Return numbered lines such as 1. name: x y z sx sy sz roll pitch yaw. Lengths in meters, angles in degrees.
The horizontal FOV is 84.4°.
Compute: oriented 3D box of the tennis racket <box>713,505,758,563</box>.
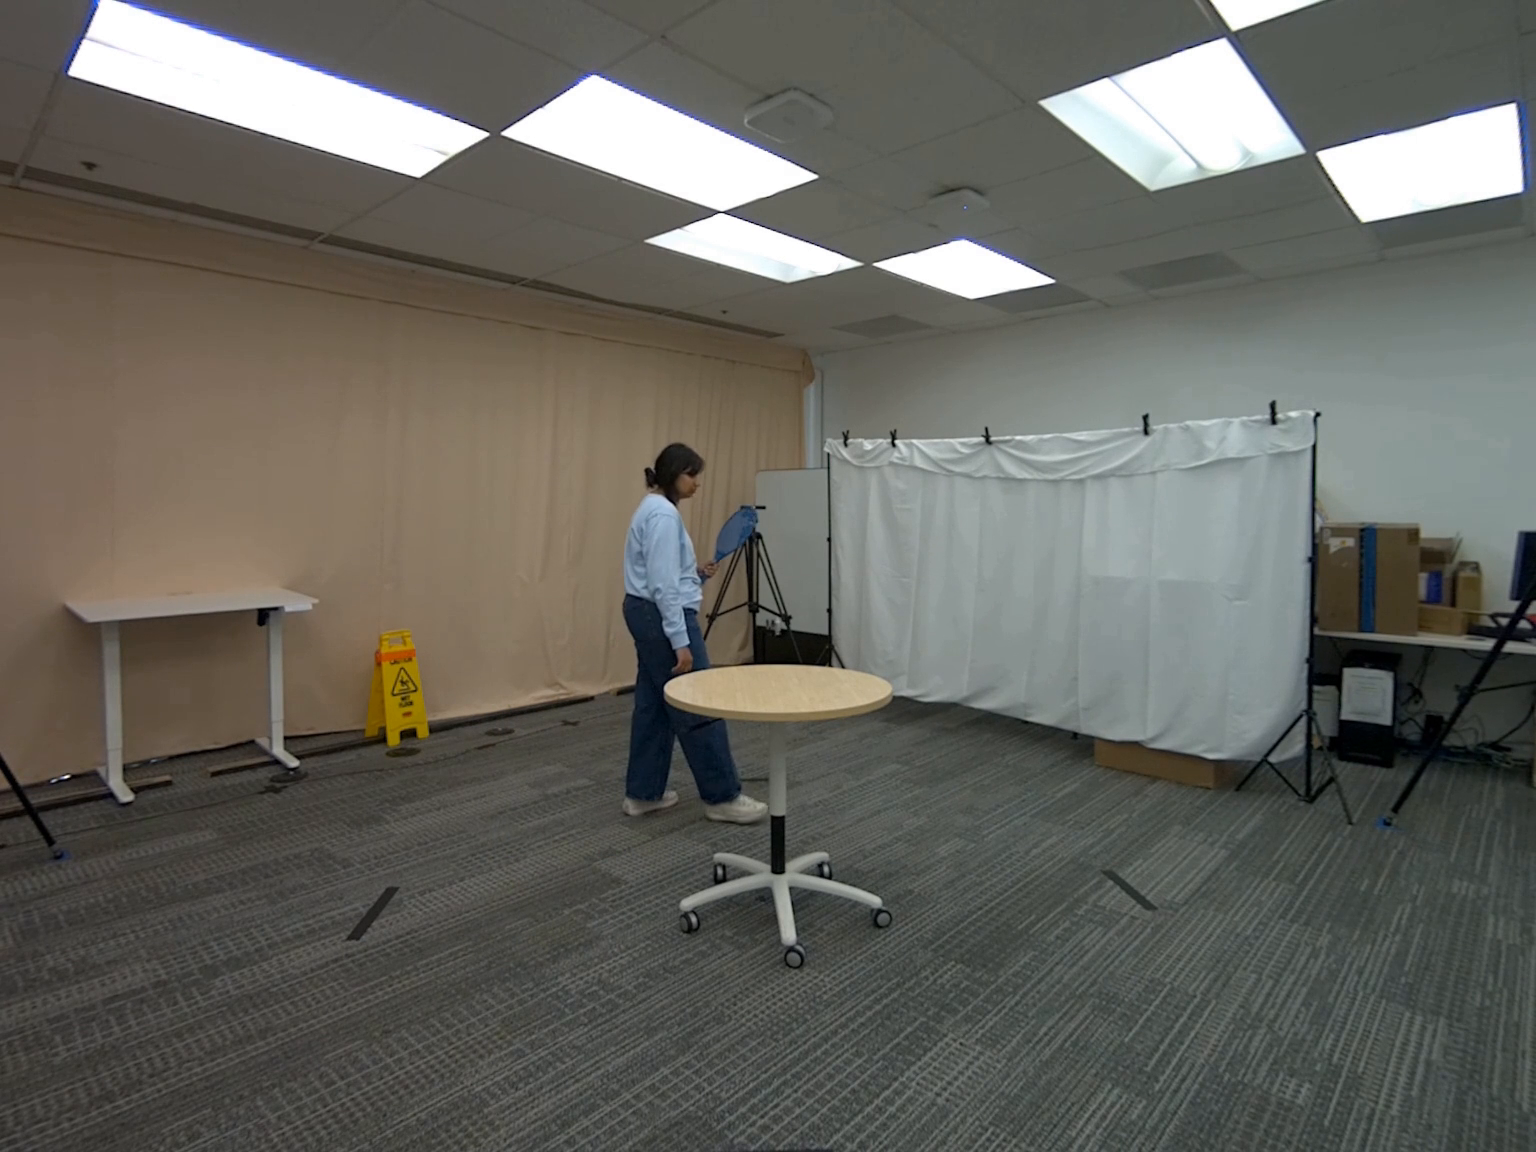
1. tennis racket: -0.193 -0.148 3.912 0.030 0.432 0.221 42 -7 -38
